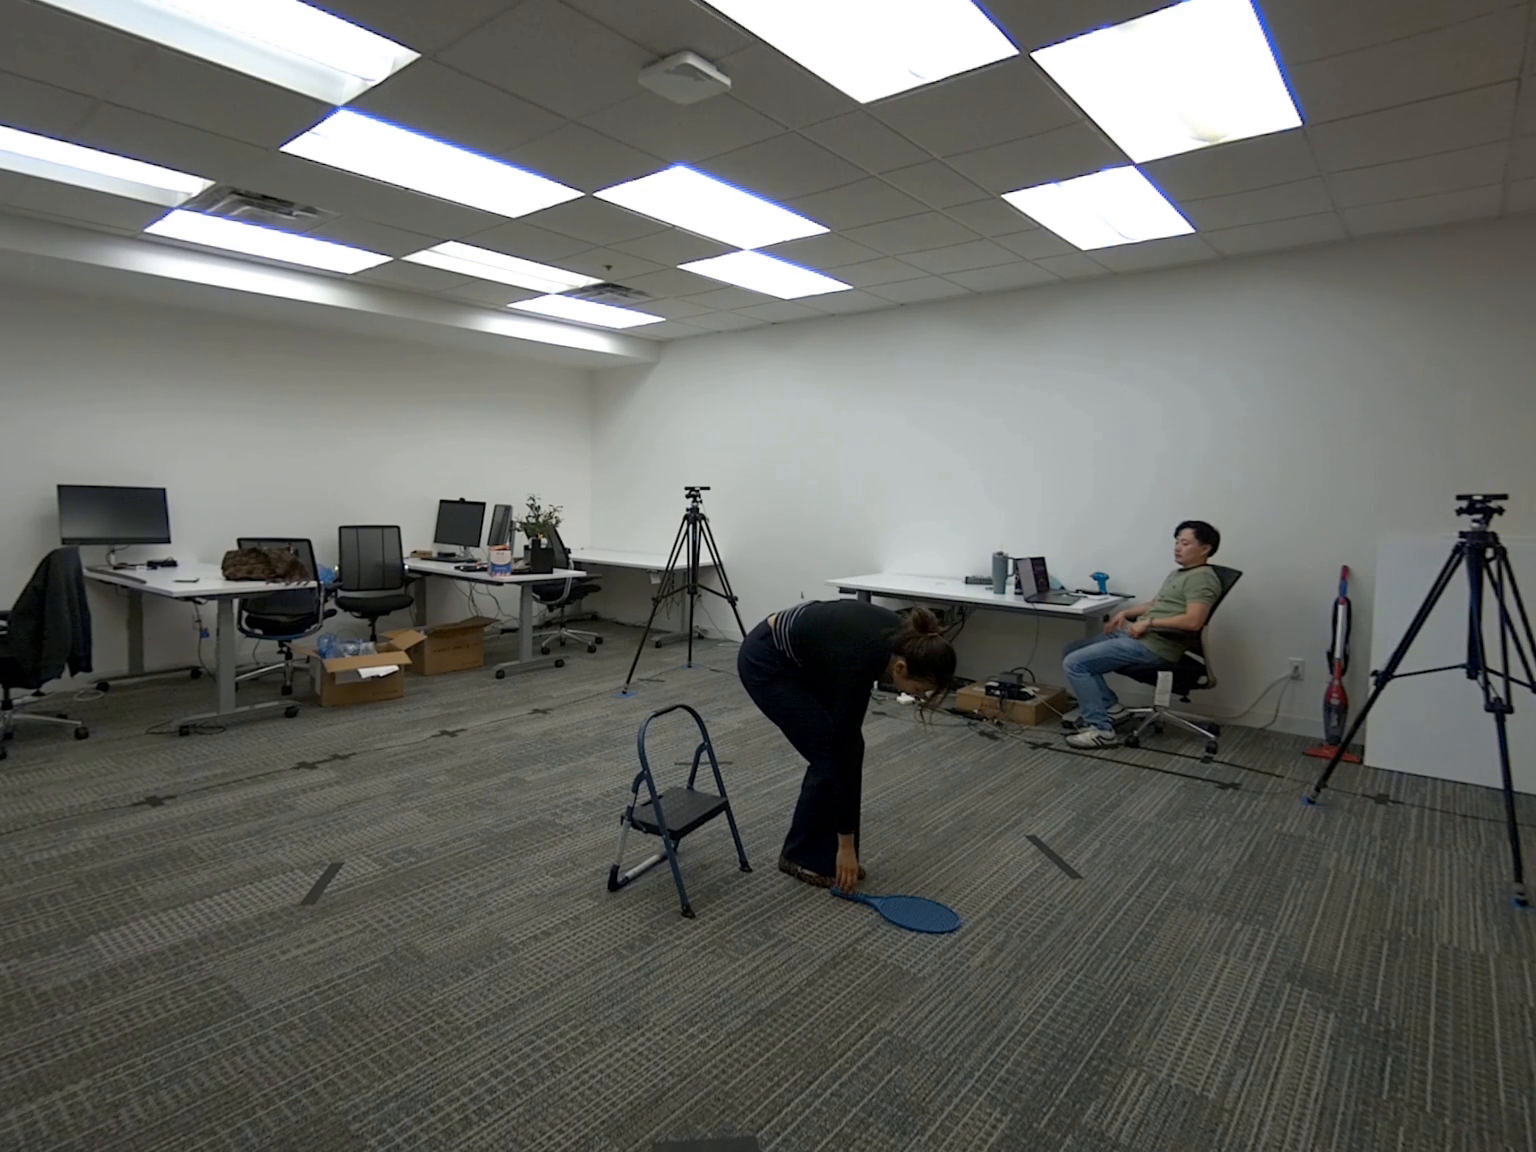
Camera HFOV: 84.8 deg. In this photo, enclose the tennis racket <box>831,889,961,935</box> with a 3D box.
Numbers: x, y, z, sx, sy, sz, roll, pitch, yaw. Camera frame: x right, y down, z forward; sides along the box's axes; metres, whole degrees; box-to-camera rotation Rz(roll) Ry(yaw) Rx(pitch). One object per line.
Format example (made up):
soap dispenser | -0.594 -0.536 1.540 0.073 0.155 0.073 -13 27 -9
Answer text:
tennis racket | 0.403 1.087 2.825 0.444 0.031 0.210 5 7 23
